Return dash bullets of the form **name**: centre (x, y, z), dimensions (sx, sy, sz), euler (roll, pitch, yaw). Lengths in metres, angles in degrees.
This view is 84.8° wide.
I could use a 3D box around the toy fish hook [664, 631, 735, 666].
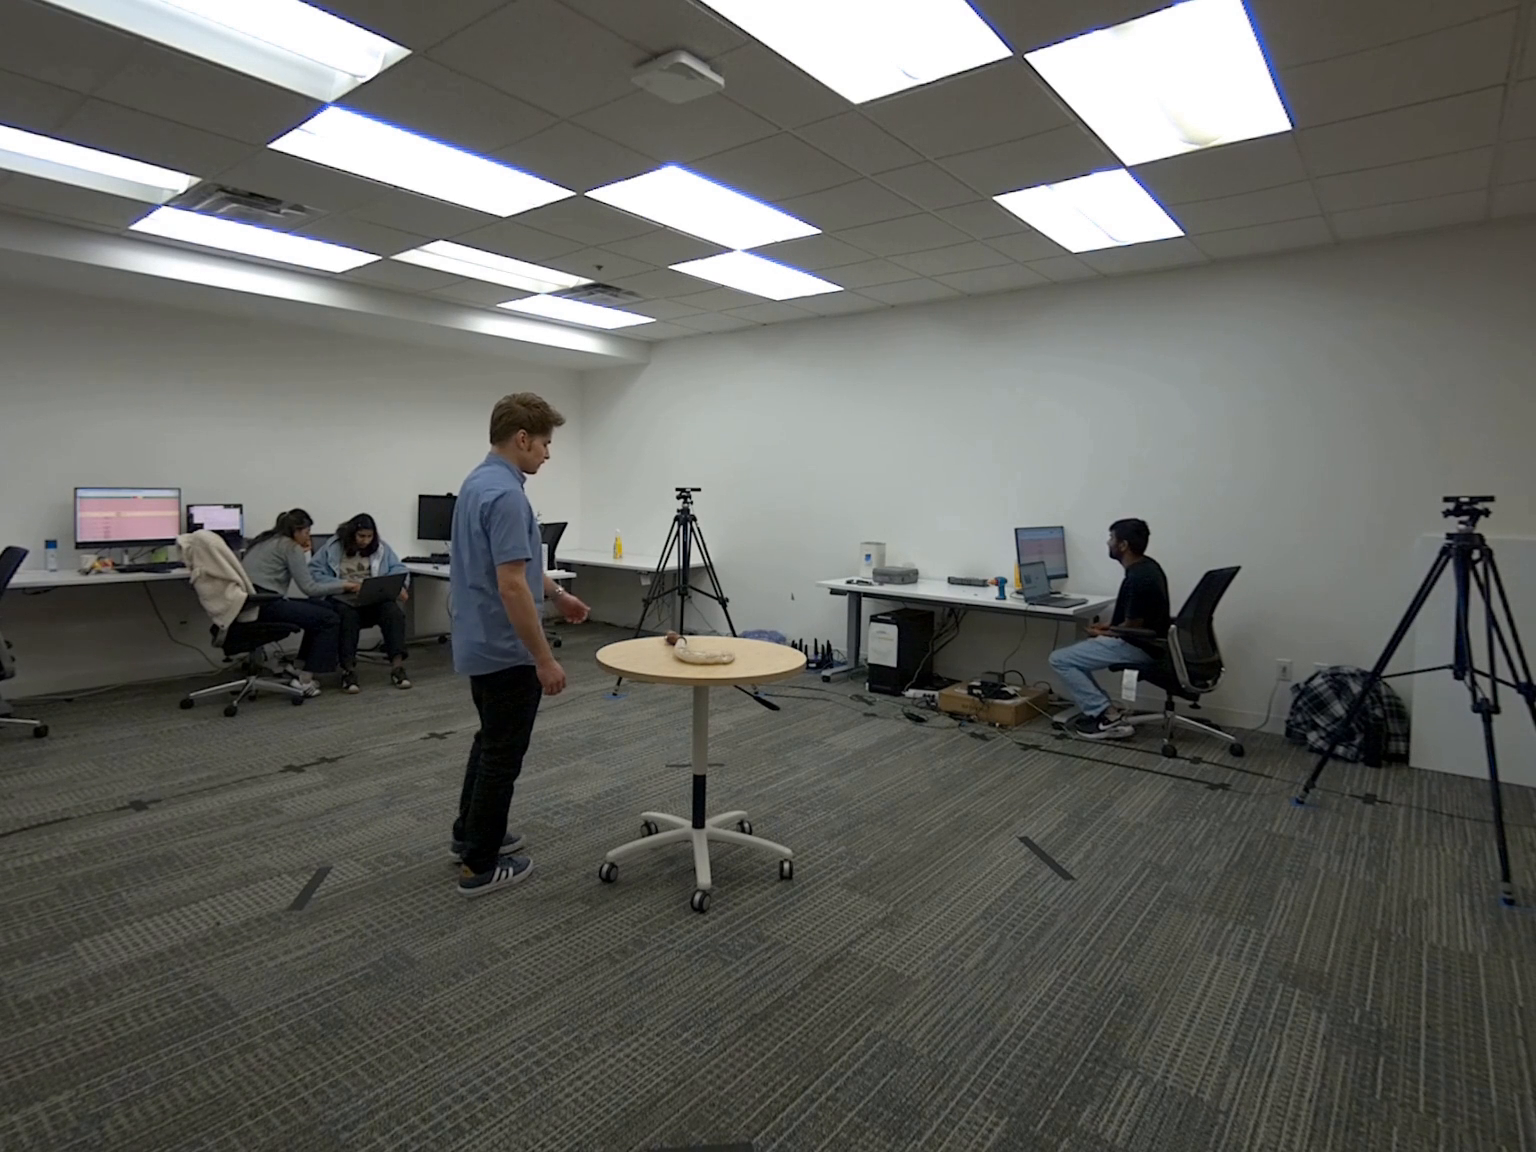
- **toy fish hook**: centre (-0.277, 0.267, 3.166), dimensions (0.220, 0.048, 0.518), euler (6, 5, -18)
